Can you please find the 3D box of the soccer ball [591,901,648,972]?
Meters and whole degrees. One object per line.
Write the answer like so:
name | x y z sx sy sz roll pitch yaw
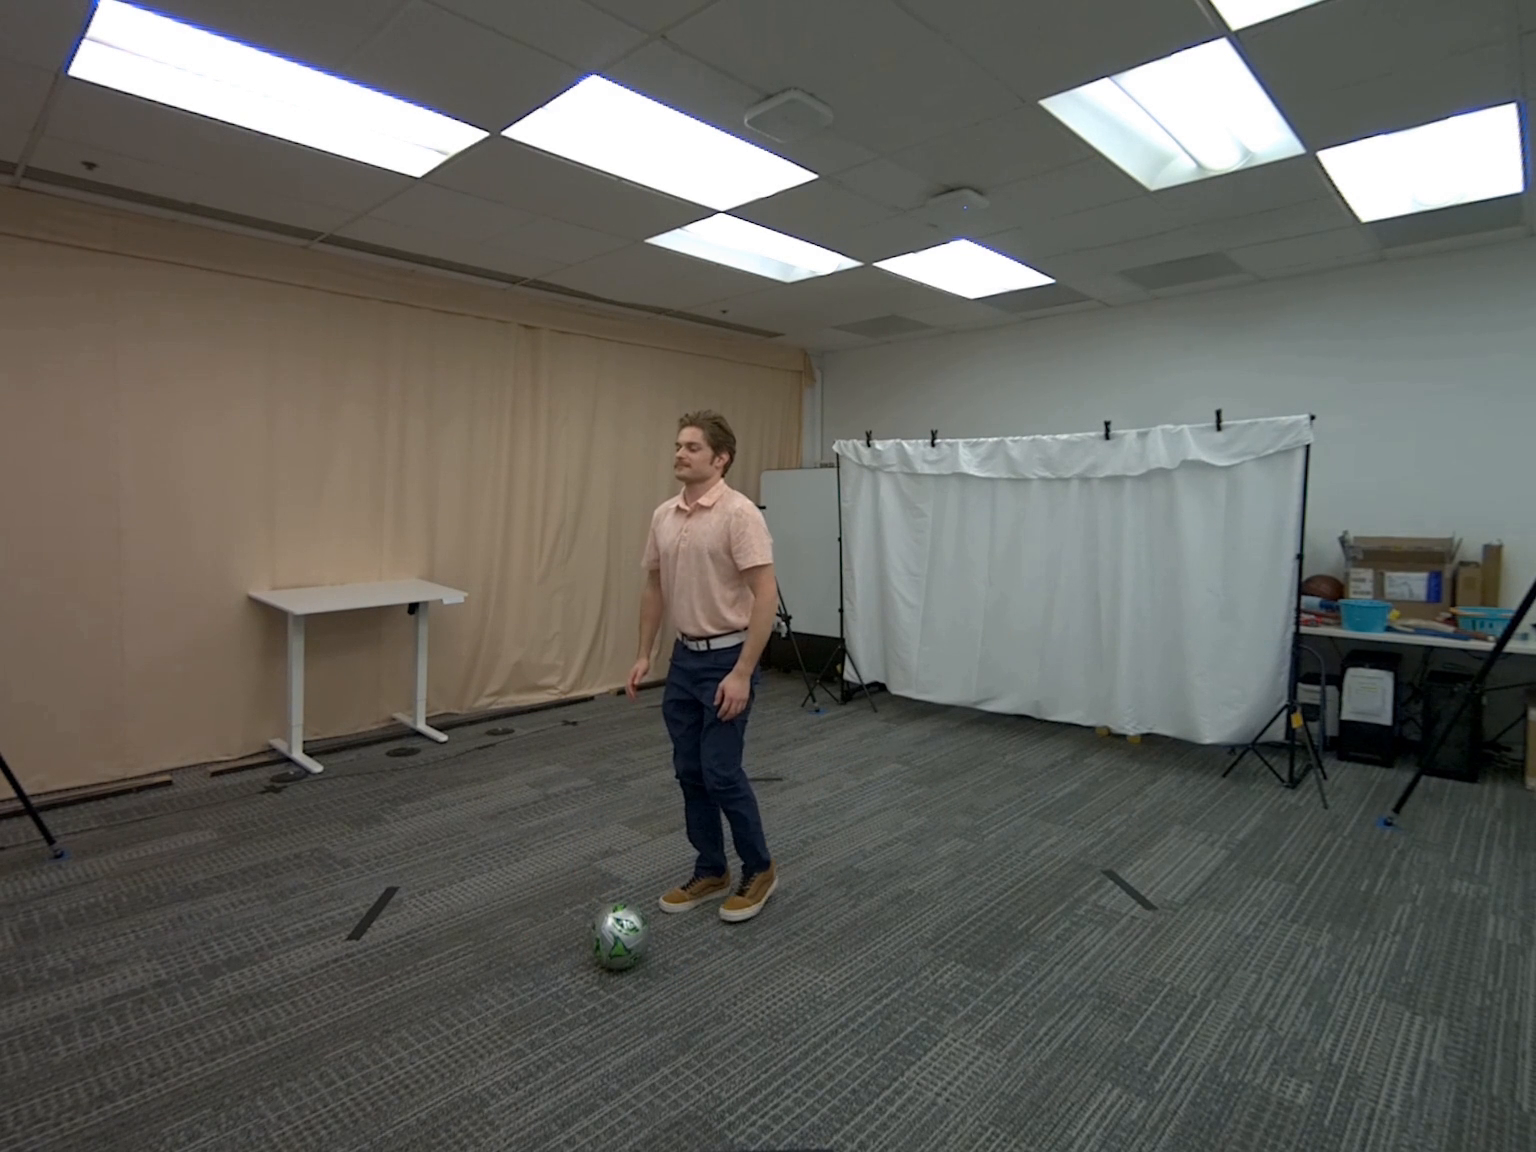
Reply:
soccer ball | -0.445 1.097 2.551 0.187 0.187 0.188 0 4 -2
